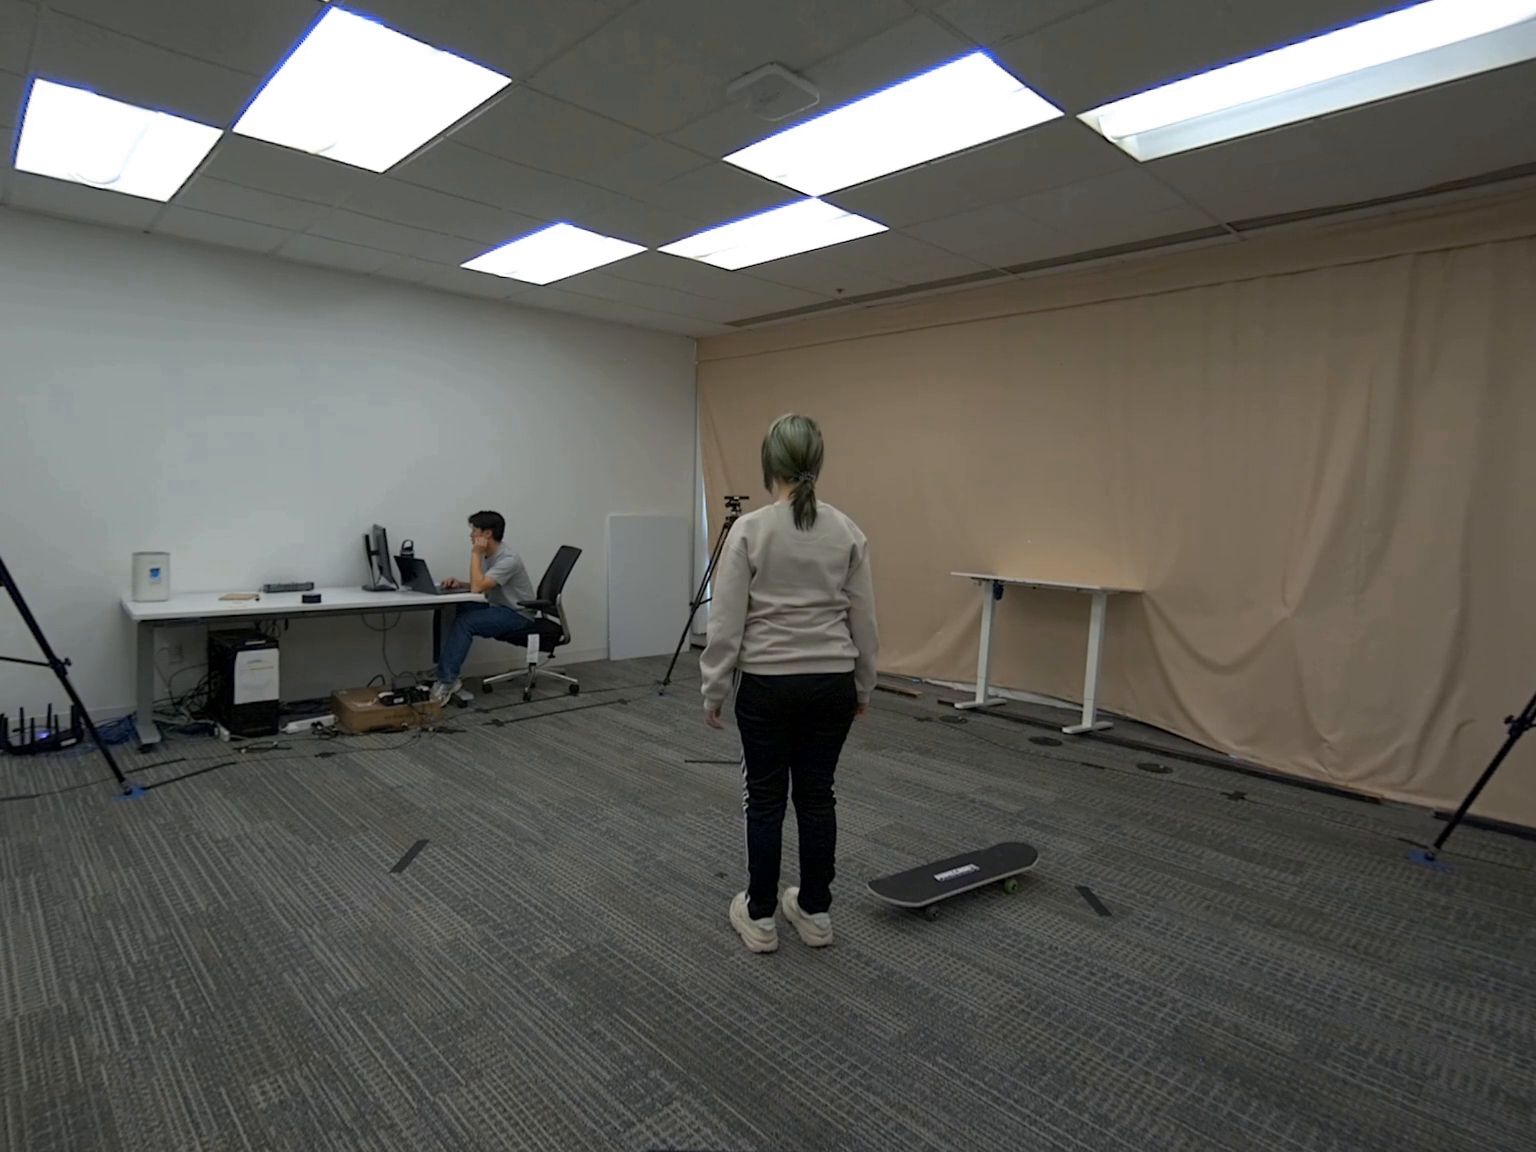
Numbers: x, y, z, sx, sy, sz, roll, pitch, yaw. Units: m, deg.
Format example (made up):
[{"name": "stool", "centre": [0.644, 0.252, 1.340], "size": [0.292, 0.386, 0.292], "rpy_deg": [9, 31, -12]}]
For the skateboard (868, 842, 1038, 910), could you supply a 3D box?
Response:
[{"name": "skateboard", "centre": [0.664, 1.081, 2.975], "size": [0.769, 0.110, 0.198], "rpy_deg": [-2, 6, -34]}]
